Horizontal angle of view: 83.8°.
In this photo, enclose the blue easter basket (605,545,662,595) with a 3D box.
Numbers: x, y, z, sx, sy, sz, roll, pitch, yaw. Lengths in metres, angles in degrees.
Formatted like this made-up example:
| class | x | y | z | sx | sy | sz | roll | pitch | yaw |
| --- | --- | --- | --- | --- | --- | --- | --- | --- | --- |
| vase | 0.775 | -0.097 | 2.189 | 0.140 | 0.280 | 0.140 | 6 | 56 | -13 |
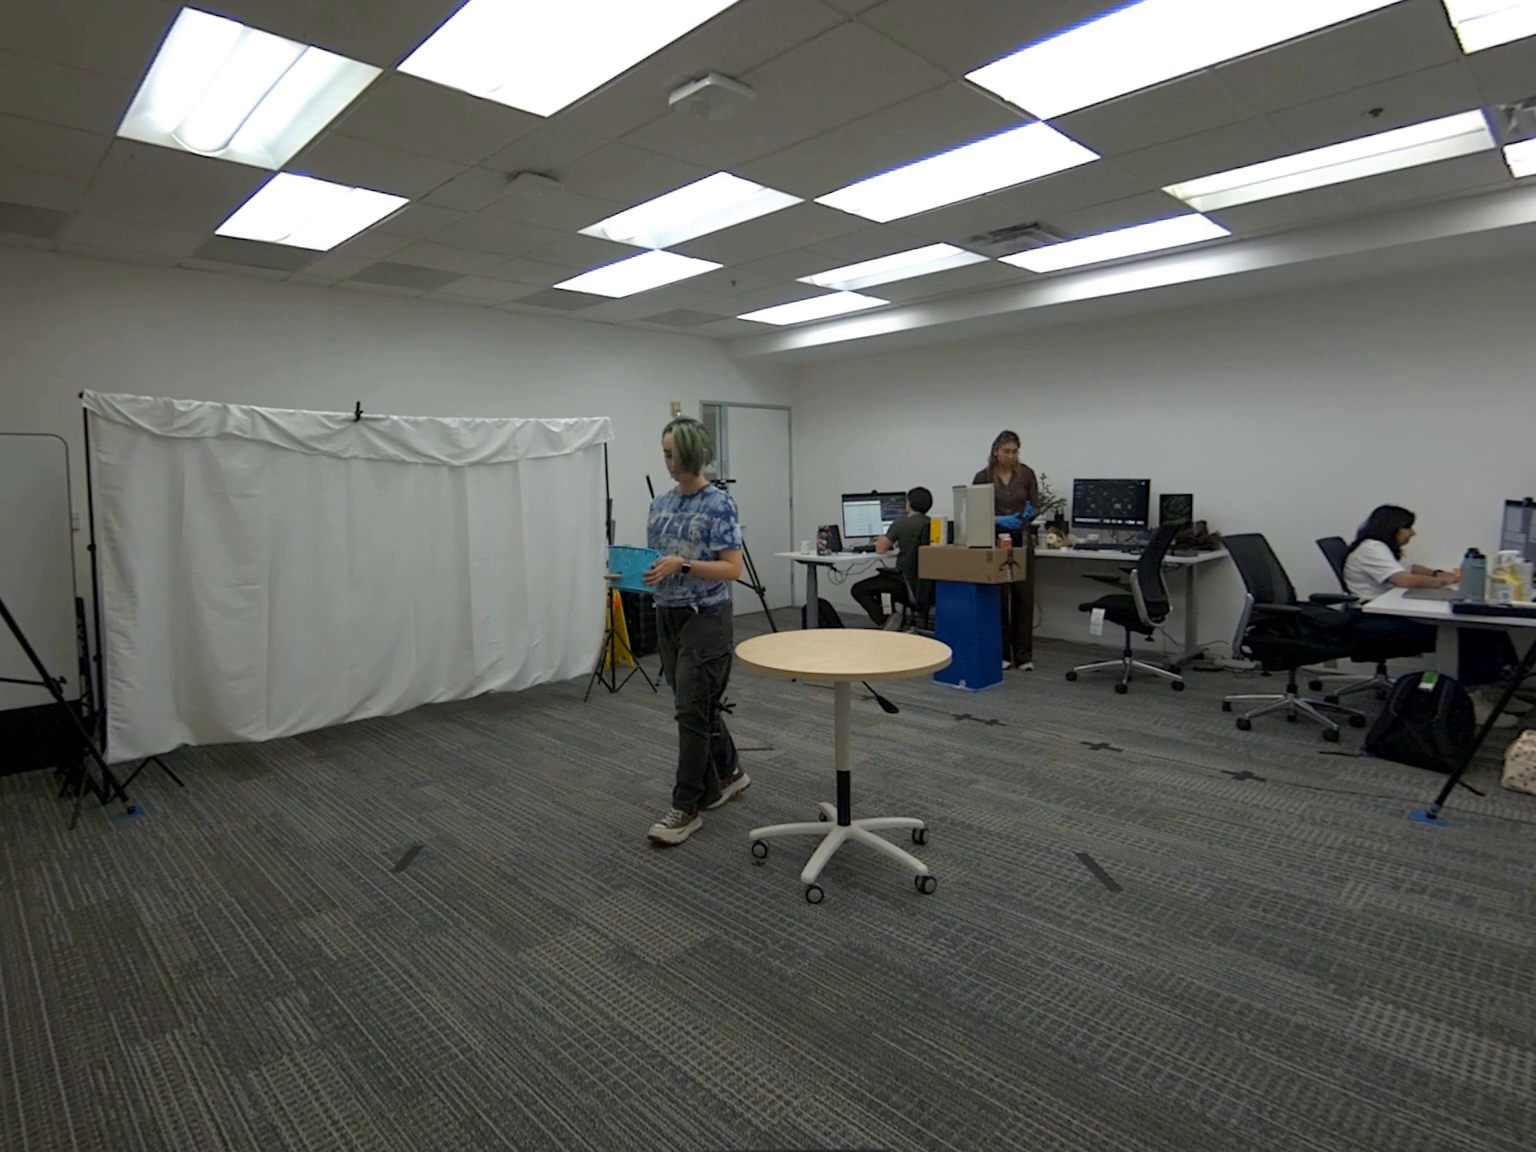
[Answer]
| class | x | y | z | sx | sy | sz | roll | pitch | yaw |
| --- | --- | --- | --- | --- | --- | --- | --- | --- | --- |
| blue easter basket | -0.509 | -0.020 | 3.250 | 0.243 | 0.156 | 0.243 | 8 | -4 | -1 |
